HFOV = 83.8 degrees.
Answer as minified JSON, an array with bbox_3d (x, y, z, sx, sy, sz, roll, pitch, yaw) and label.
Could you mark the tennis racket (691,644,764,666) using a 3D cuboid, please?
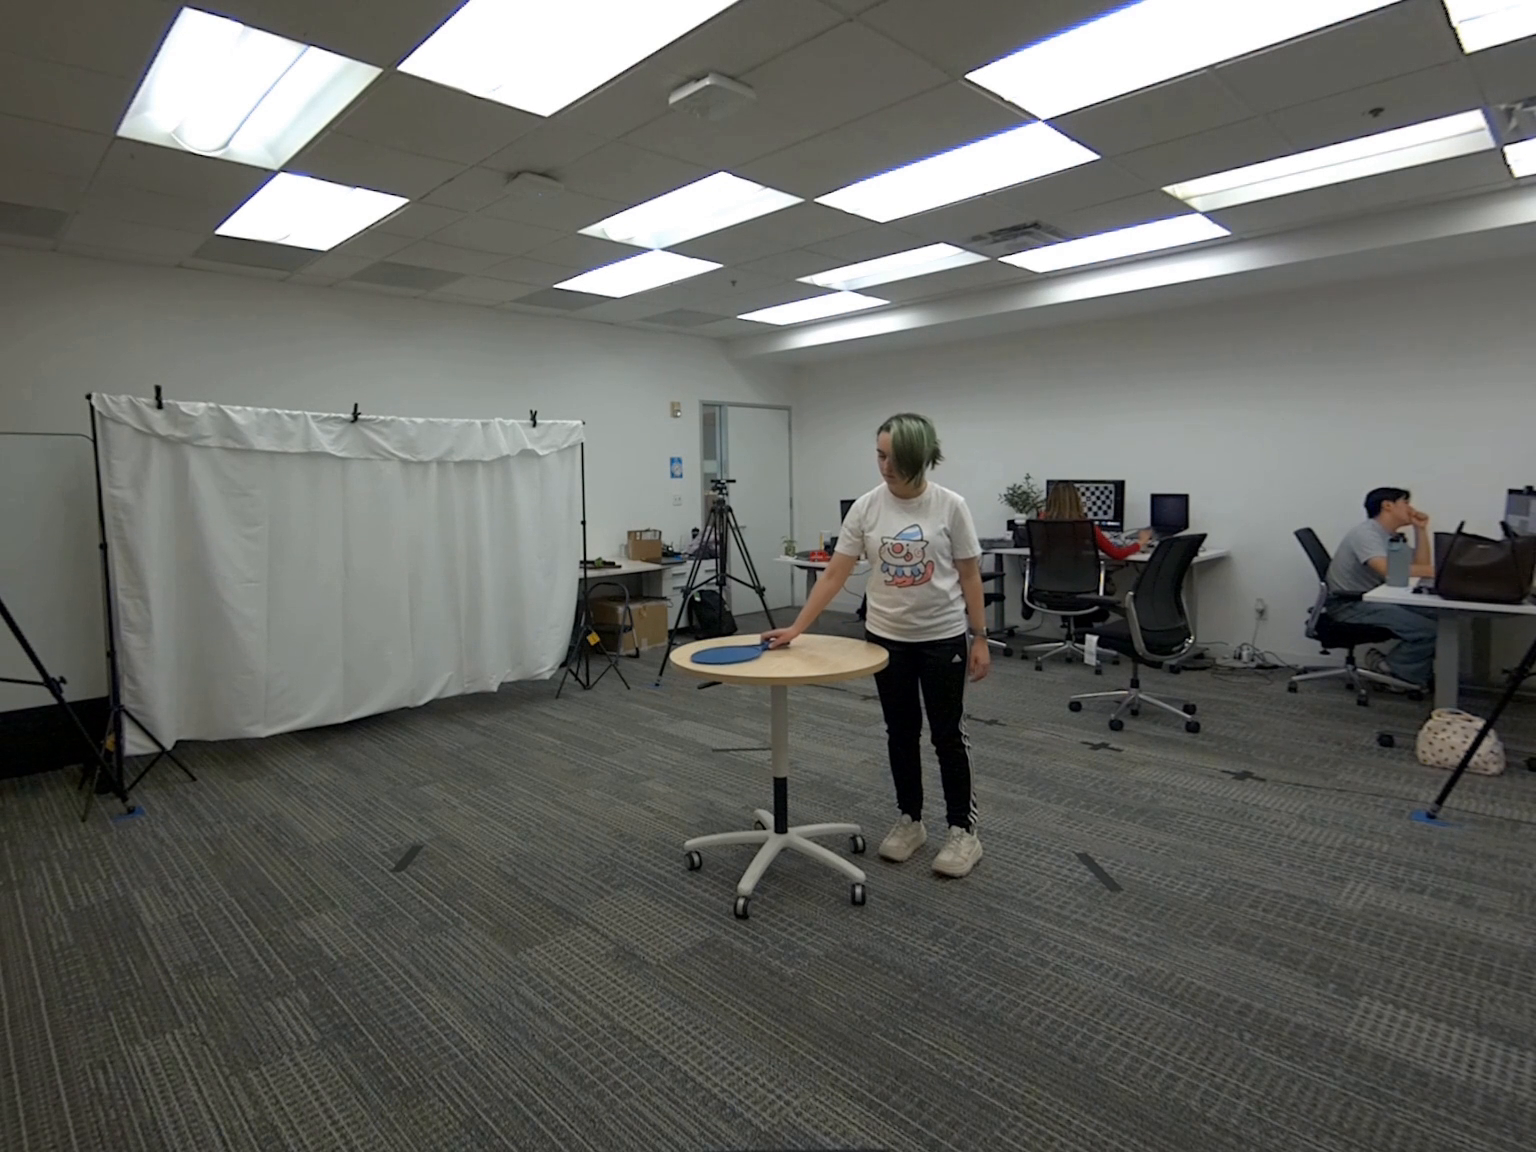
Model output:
[{"bbox_3d":[-0.084,0.267,2.988,0.422,0.031,0.220,-7,10,-37],"label":"tennis racket"}]
